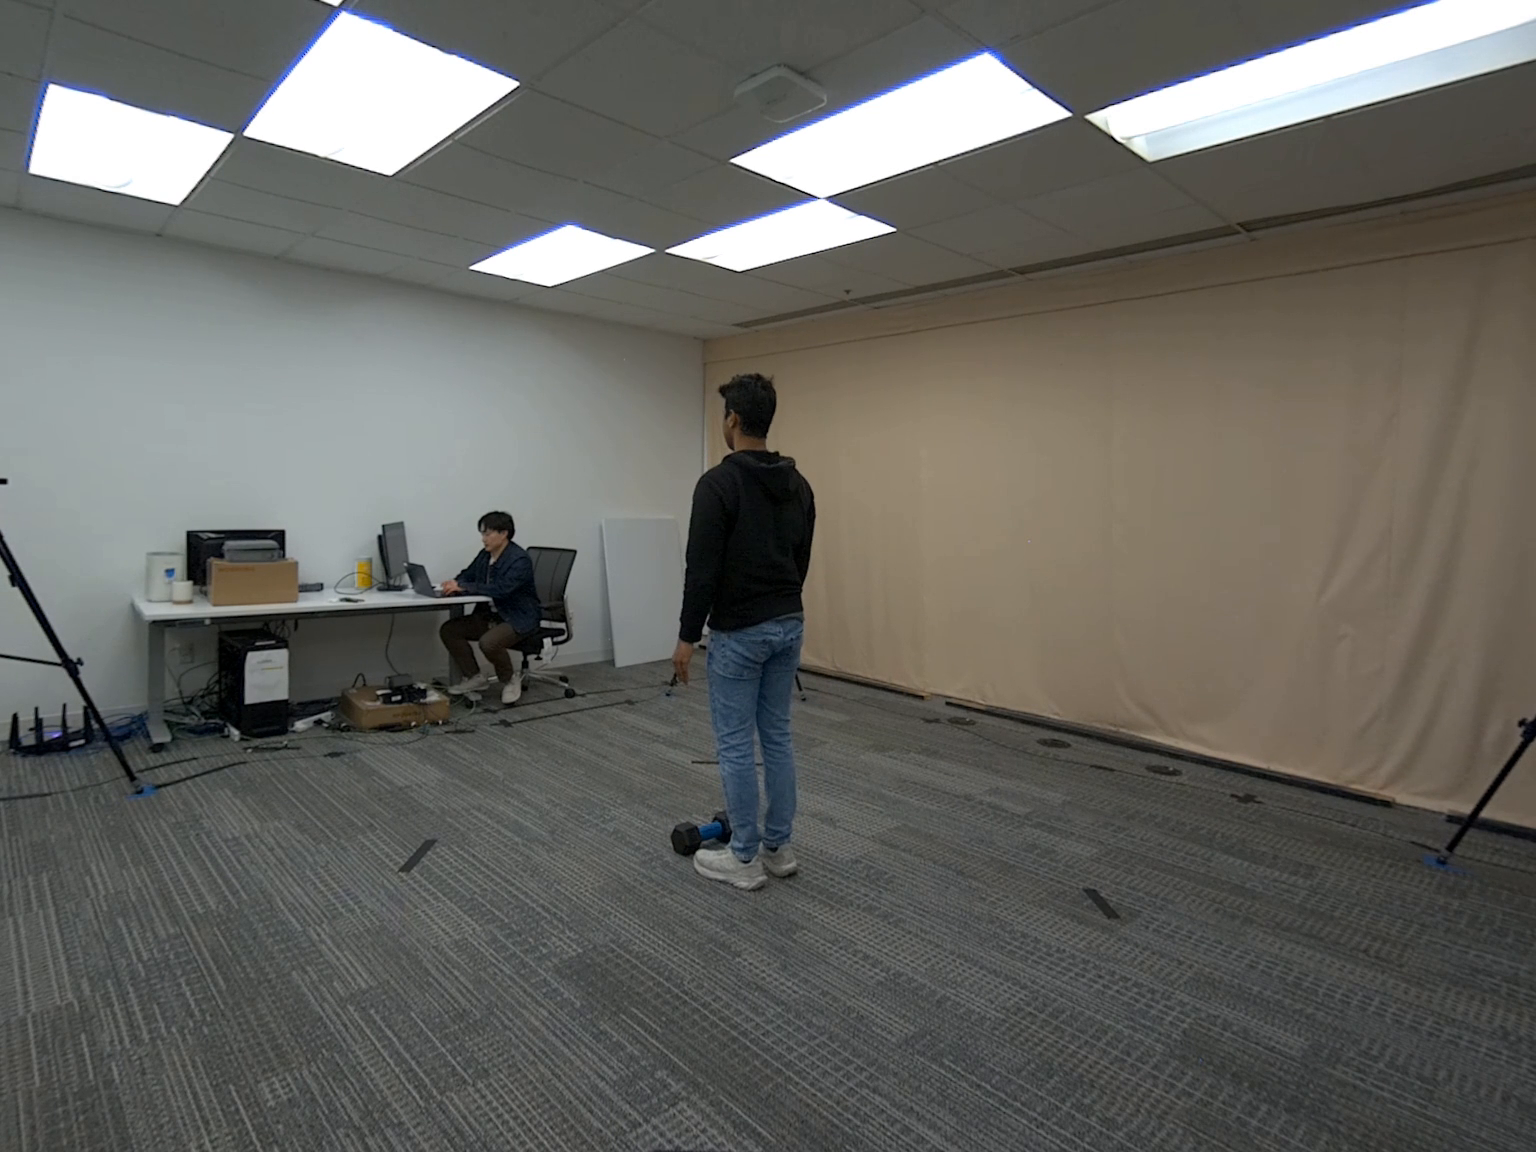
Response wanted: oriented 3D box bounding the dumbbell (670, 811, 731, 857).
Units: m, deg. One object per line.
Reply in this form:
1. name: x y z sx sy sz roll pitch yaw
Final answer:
1. dumbbell: -0.255 1.027 3.370 0.287 0.125 0.109 -4 -23 -43
